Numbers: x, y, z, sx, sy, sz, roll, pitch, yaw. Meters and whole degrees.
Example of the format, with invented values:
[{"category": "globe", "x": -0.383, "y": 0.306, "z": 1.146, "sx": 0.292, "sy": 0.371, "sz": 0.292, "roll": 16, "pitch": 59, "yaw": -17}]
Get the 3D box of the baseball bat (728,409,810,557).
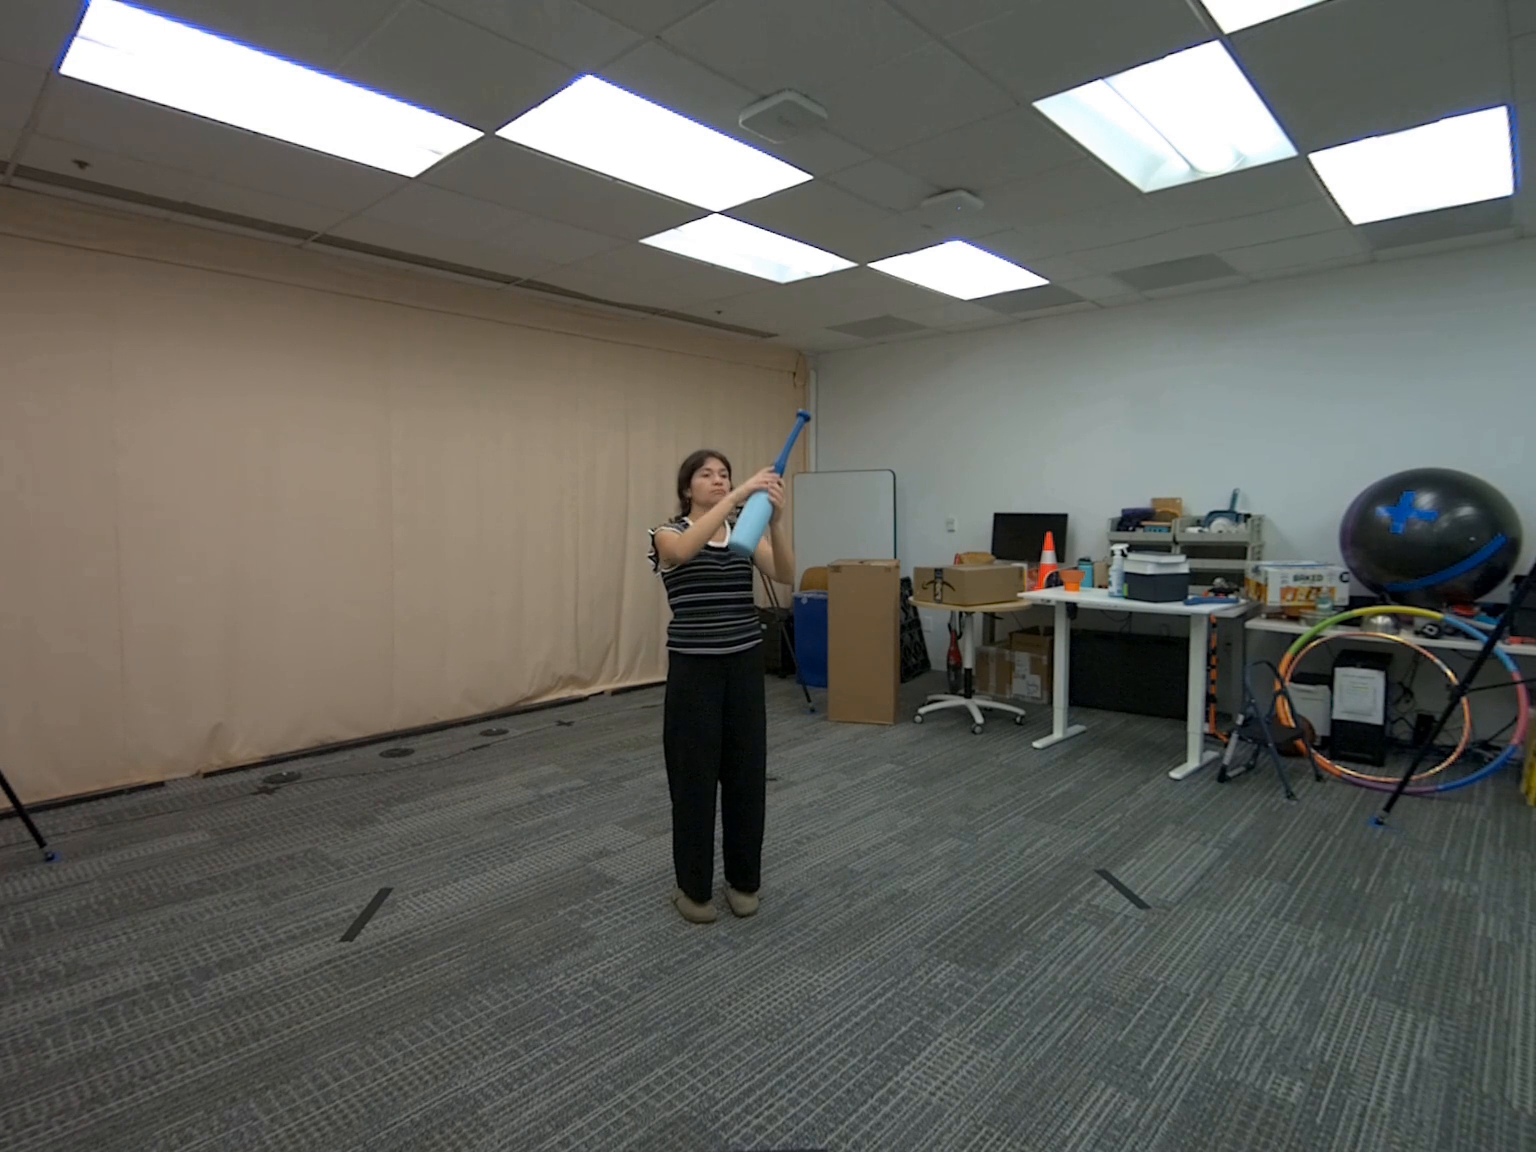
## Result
[{"category": "baseball bat", "x": 0.025, "y": -0.312, "z": 2.620, "sx": 0.090, "sy": 0.544, "sz": 0.088, "roll": 21, "pitch": -22, "yaw": 7}]
